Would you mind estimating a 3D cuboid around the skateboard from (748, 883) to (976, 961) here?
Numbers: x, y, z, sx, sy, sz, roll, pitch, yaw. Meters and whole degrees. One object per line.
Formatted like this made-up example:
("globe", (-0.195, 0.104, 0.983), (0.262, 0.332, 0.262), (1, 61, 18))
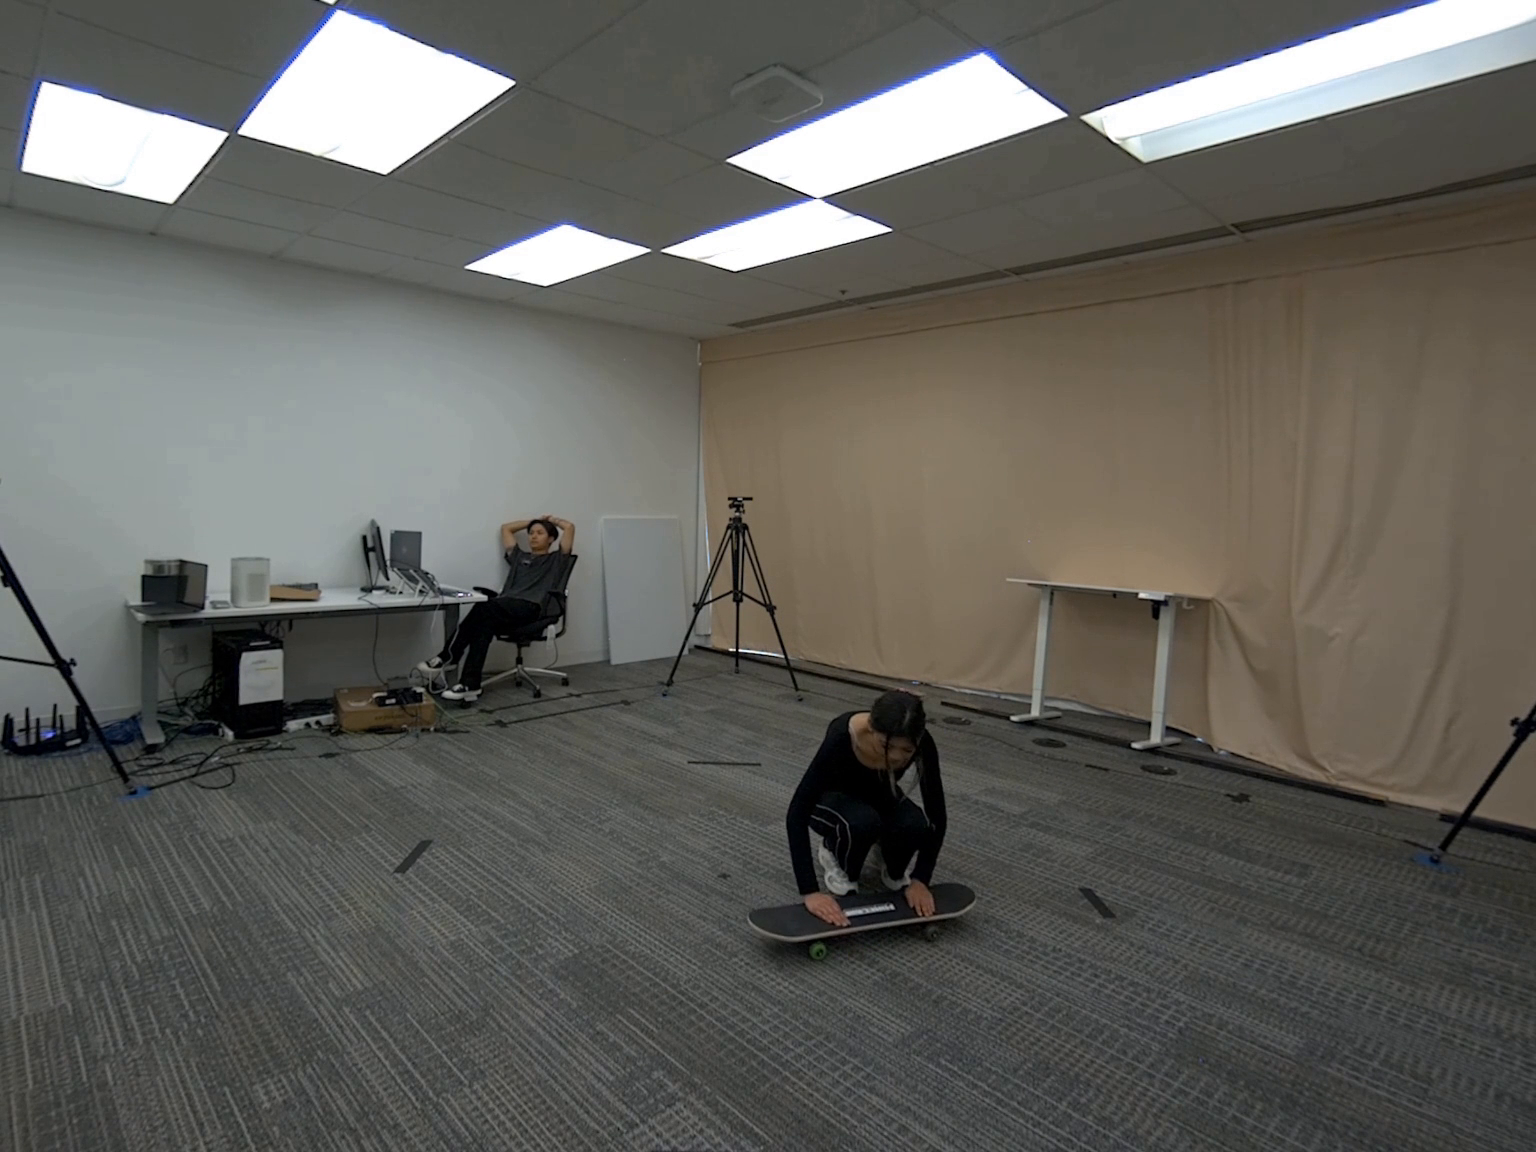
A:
("skateboard", (0.304, 1.102, 2.687), (0.774, 0.110, 0.197), (0, 5, -19))
